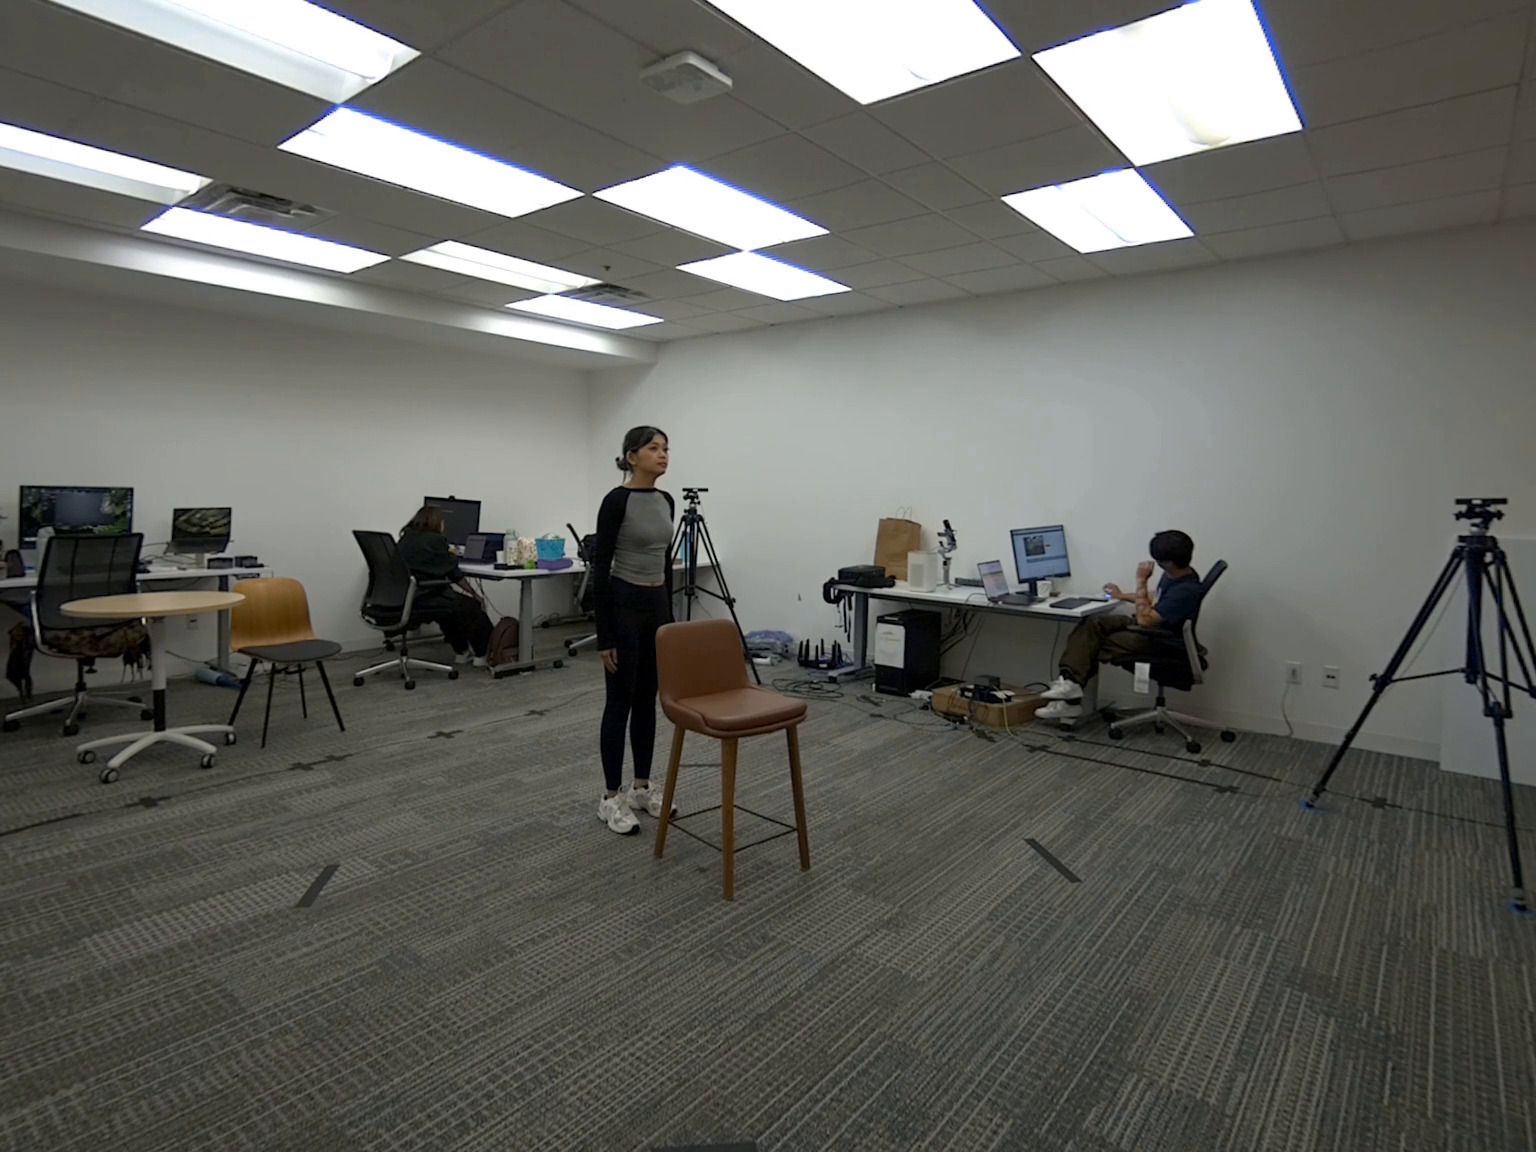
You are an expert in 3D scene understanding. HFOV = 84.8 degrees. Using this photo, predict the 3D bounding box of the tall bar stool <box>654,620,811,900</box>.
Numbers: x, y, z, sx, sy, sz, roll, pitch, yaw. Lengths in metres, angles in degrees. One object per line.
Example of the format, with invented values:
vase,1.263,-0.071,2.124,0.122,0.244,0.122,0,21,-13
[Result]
tall bar stool,-0.147,0.628,3.156,0.442,0.889,0.482,-1,1,-42
